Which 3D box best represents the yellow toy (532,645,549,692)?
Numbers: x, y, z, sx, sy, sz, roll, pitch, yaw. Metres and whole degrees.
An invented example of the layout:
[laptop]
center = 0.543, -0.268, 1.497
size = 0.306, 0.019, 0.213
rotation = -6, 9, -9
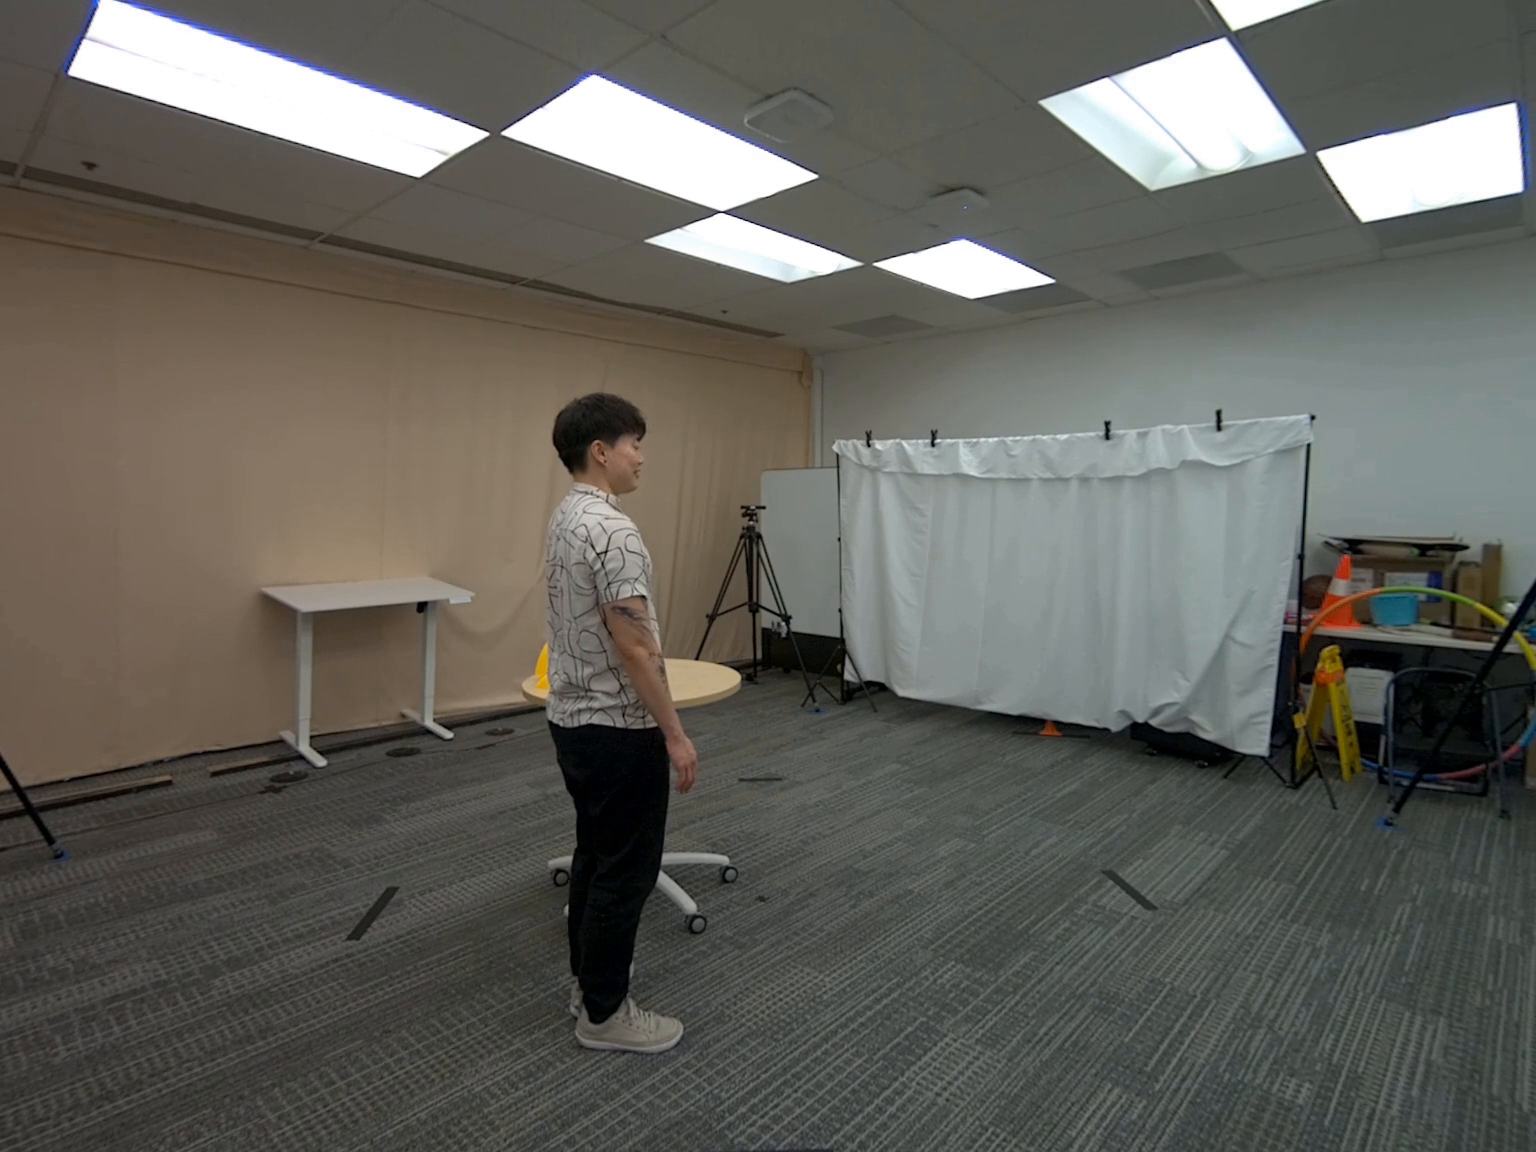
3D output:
[yellow toy]
center = -0.715, 0.252, 2.929
size = 0.191, 0.230, 0.207
rotation = 3, 3, -8
